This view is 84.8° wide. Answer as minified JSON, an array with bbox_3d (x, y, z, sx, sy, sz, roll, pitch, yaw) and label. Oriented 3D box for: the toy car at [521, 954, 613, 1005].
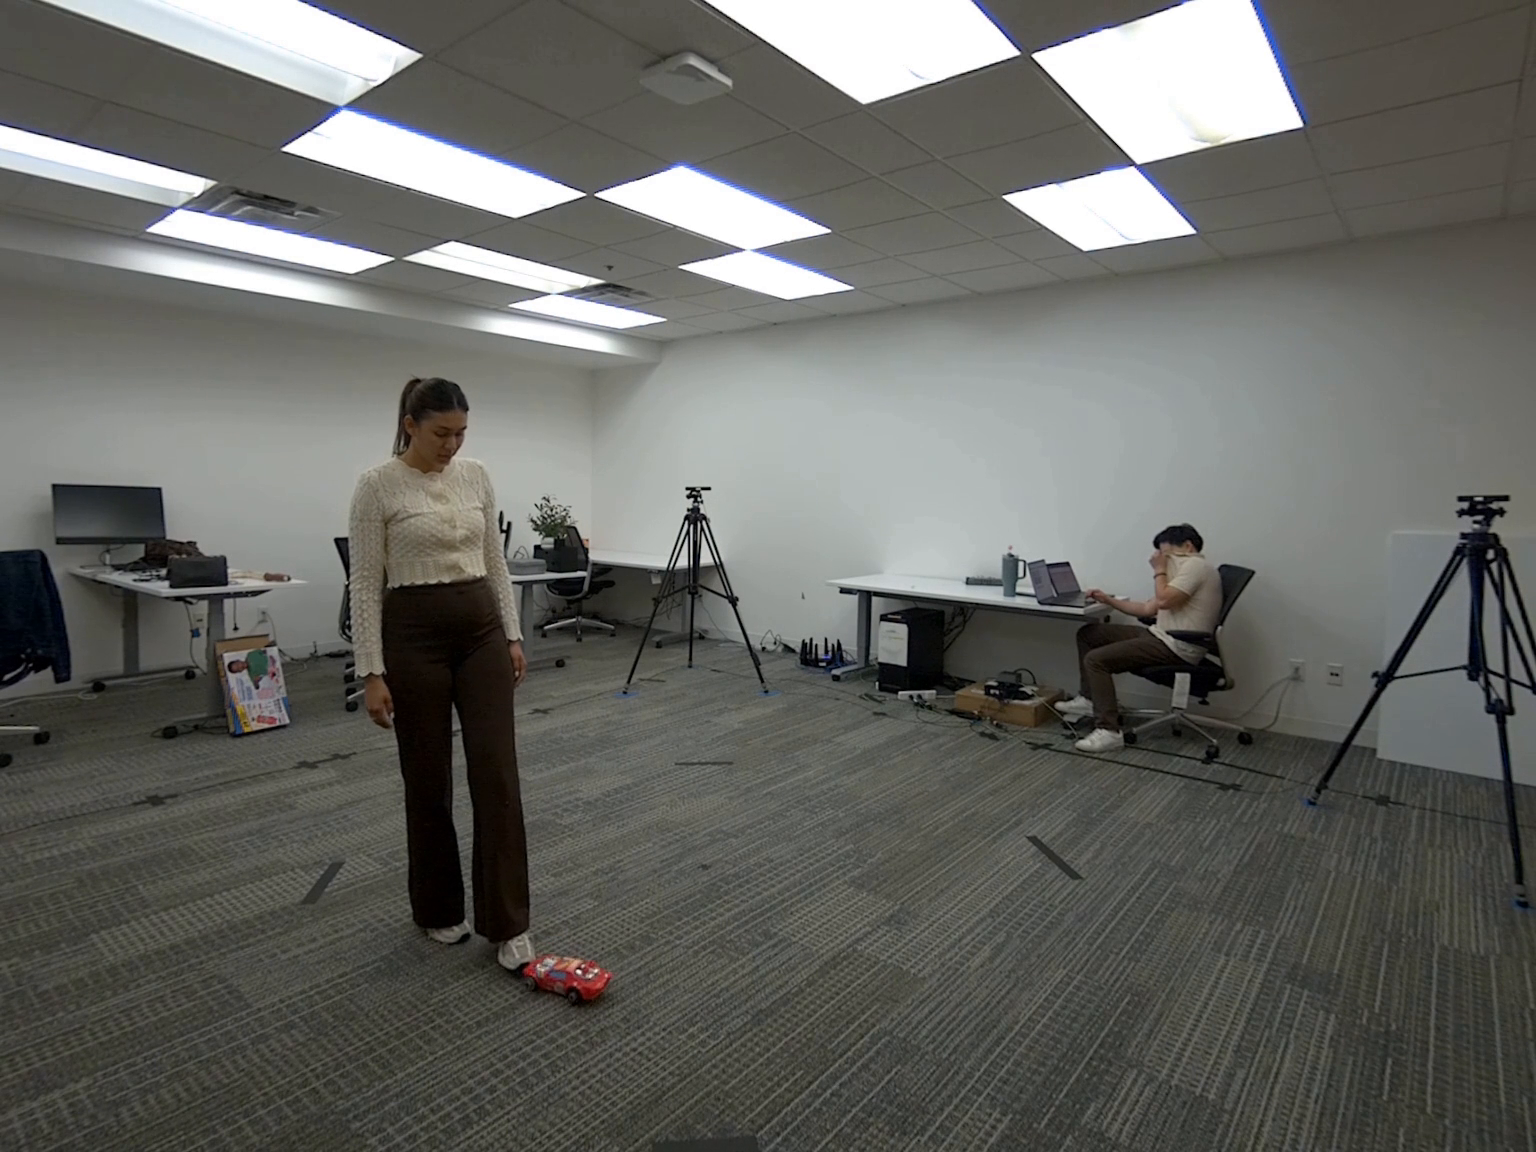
[{"bbox_3d":[-0.556,1.105,2.344,0.260,0.083,0.128,-8,2,25],"label":"toy car"}]
